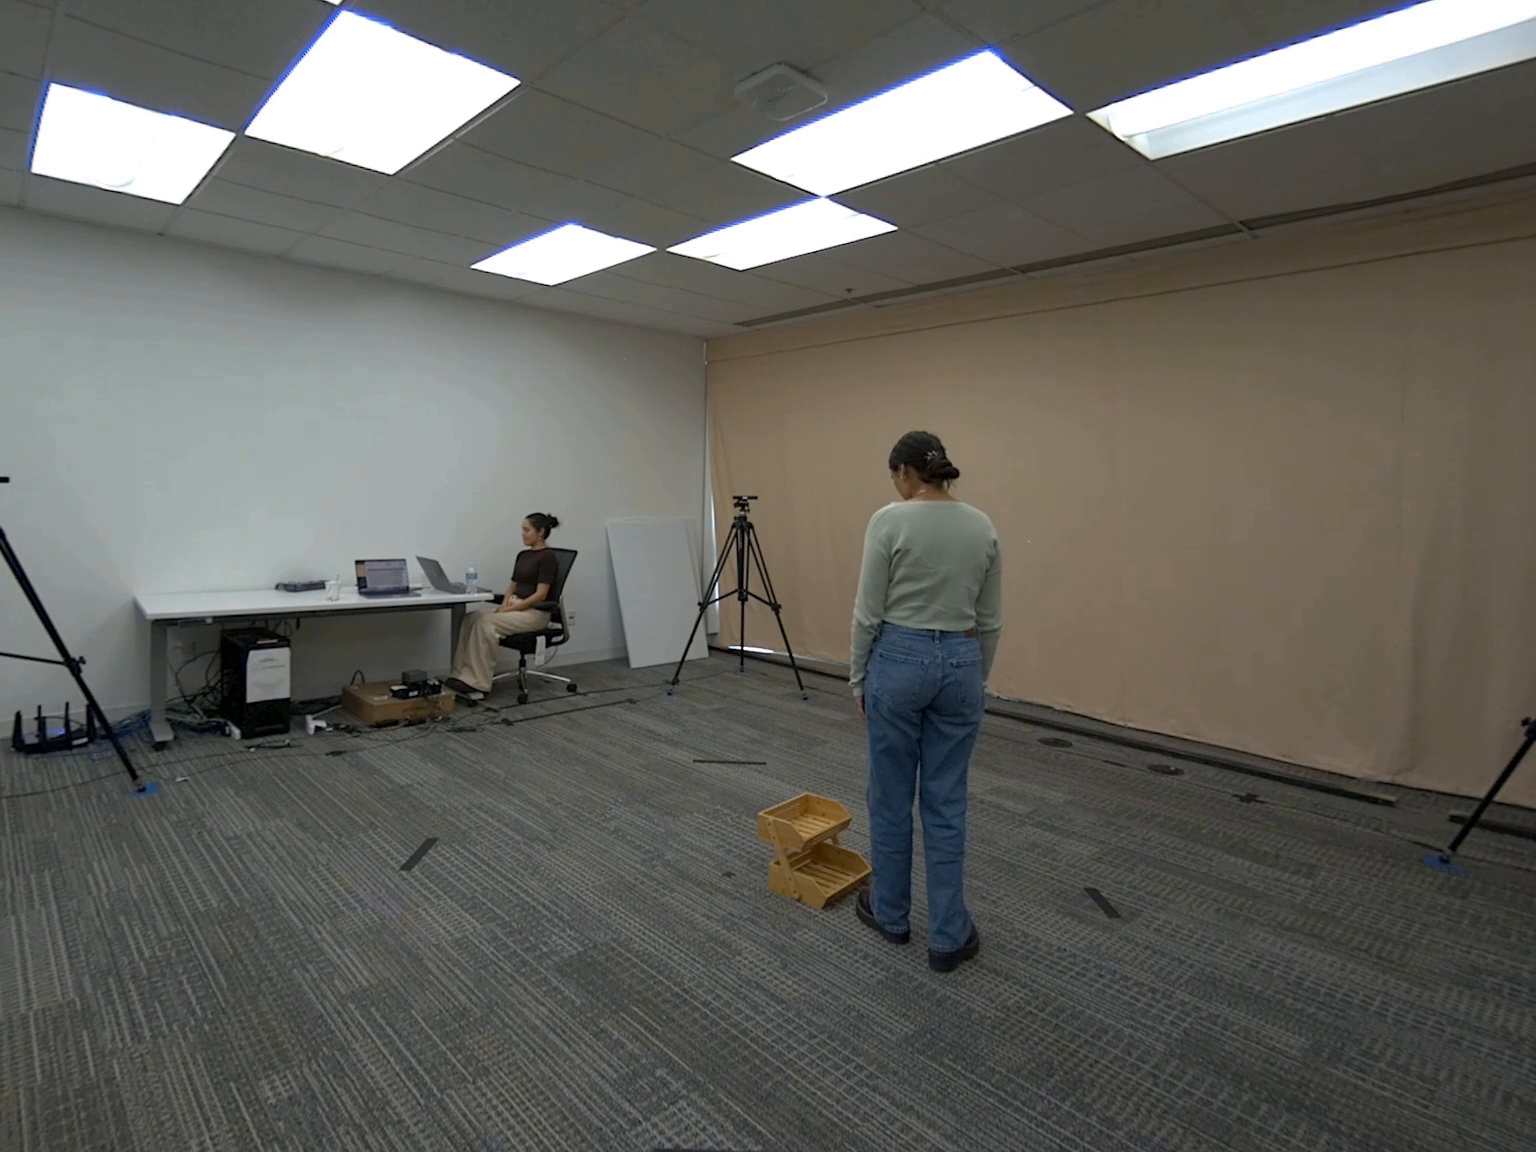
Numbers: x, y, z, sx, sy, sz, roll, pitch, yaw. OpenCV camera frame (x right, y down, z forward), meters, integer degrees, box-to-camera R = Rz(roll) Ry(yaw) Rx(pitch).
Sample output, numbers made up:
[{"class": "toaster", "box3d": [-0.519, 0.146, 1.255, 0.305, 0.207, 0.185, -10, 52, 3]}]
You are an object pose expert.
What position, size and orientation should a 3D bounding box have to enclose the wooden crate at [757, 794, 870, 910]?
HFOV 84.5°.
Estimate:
[{"class": "wooden crate", "box3d": [0.166, 0.982, 3.042, 0.309, 0.272, 0.317, 4, 5, 39]}]
